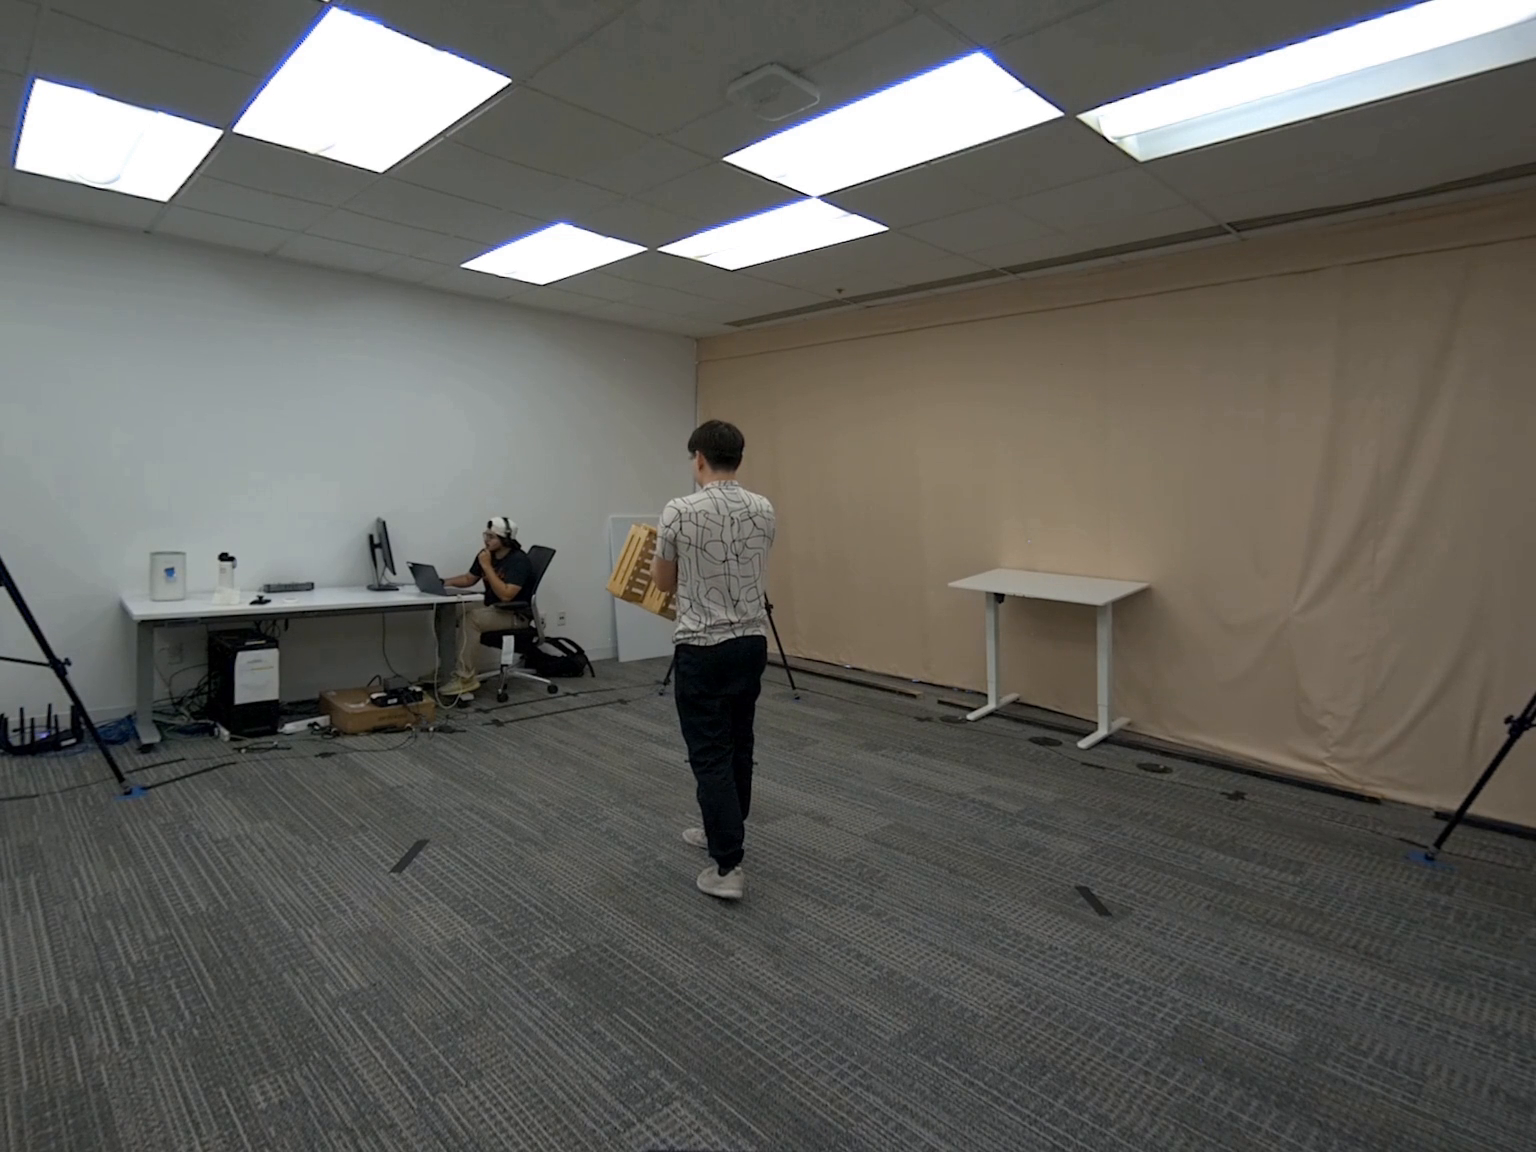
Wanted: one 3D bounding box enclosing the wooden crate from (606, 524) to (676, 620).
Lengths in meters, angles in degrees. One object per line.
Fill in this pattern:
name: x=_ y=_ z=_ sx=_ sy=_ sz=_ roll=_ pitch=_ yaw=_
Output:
wooden crate: x=-0.451 y=-0.009 z=3.502 sx=0.281 sy=0.324 sz=0.293 roll=22 pitch=-1 yaw=32
